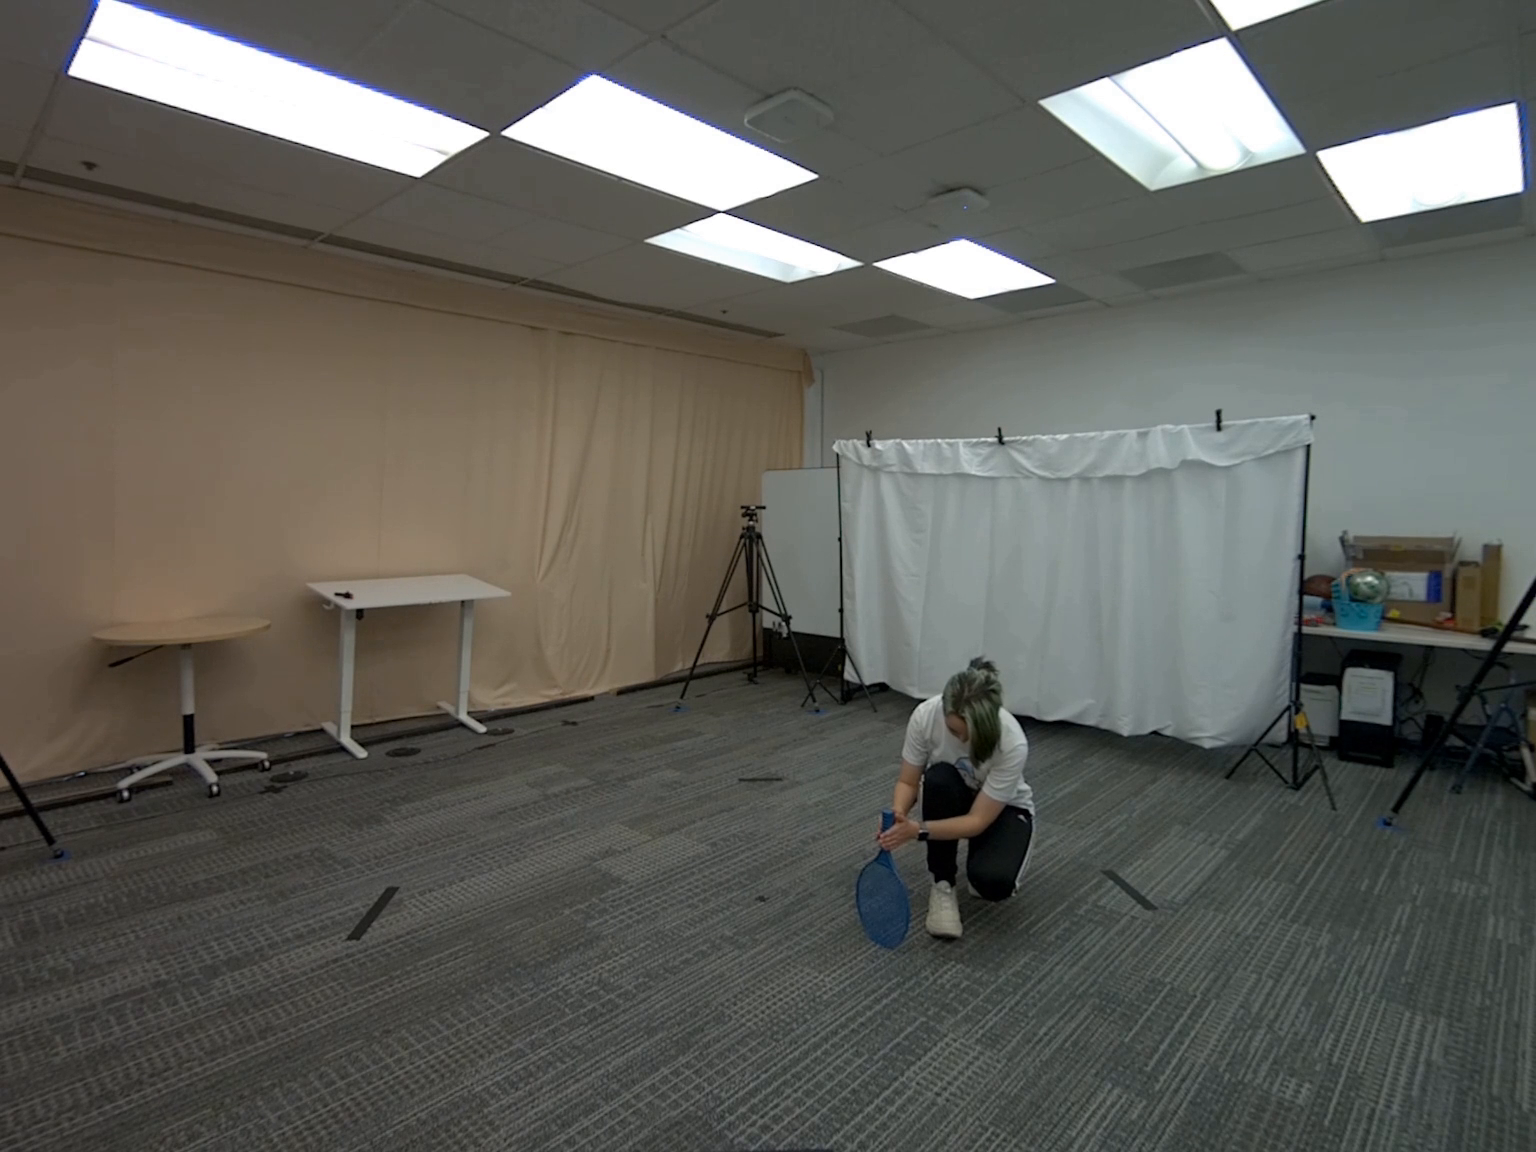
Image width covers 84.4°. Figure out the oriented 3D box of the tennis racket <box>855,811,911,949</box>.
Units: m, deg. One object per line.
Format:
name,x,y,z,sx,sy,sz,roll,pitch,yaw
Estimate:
tennis racket,0.365,0.959,2.651,0.031,0.432,0.221,-1,6,-43
